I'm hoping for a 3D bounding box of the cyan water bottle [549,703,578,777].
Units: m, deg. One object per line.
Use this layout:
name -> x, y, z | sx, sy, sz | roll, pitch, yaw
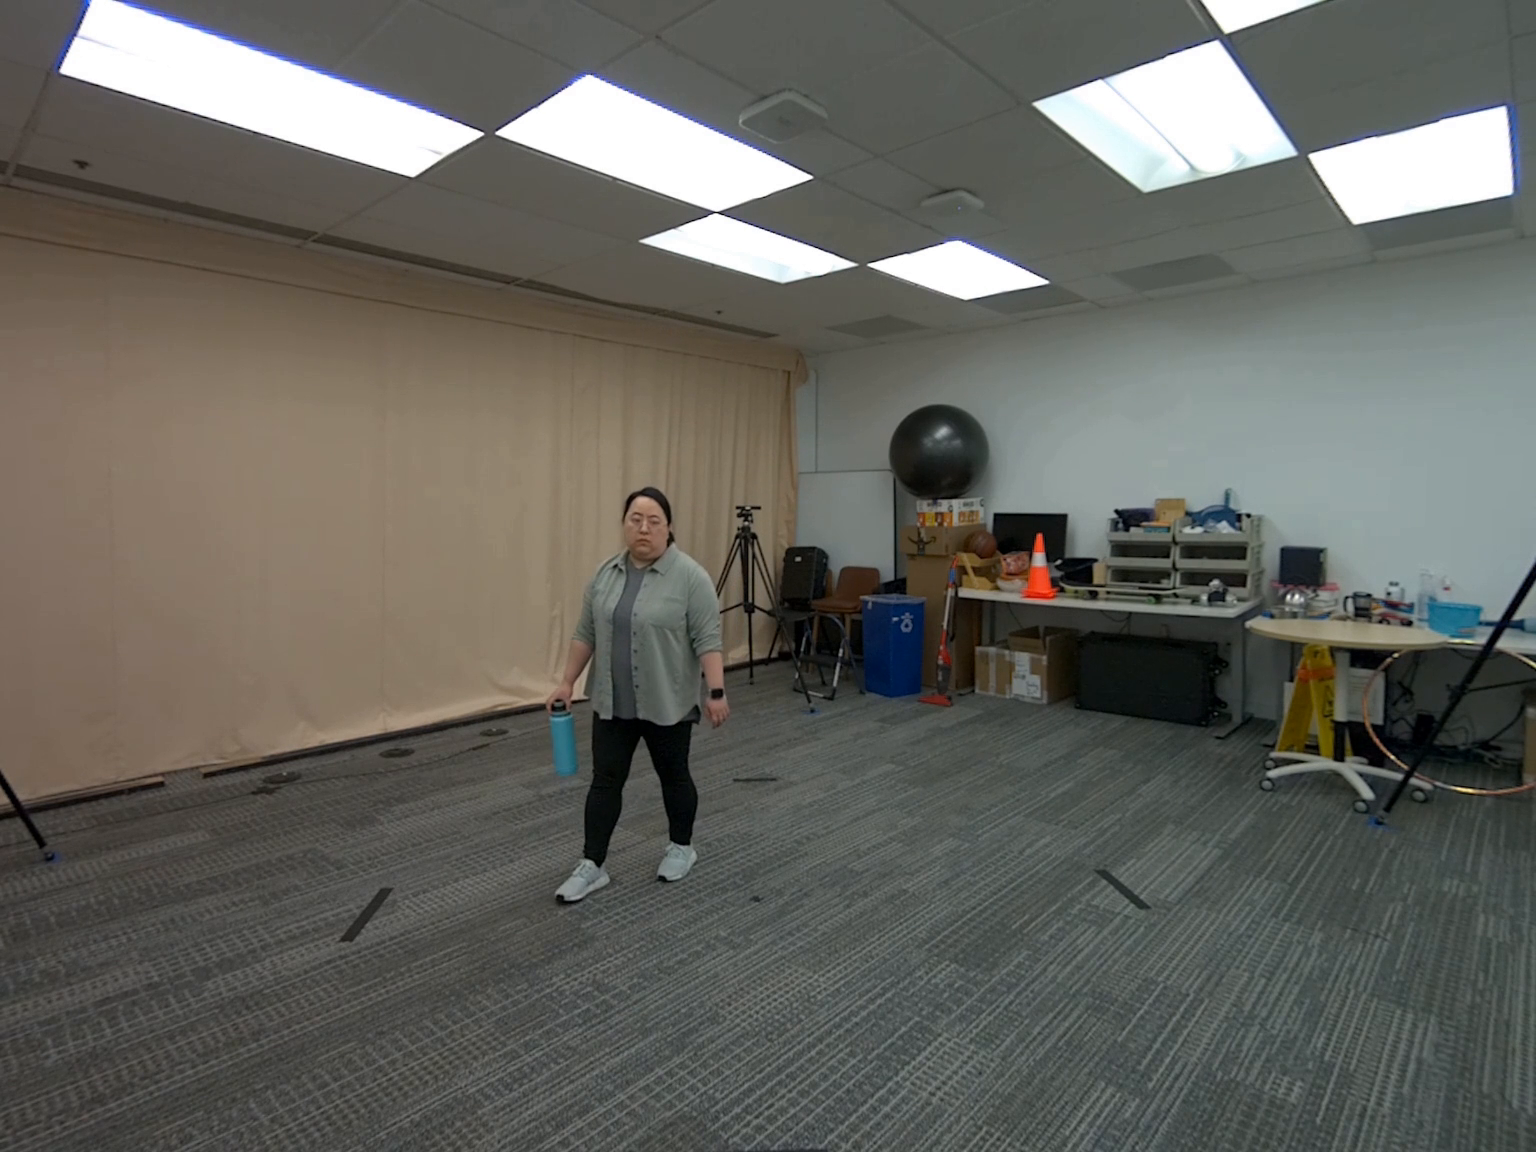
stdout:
cyan water bottle -> -0.781, 0.605, 3.184 | 0.092, 0.282, 0.093 | -5, 7, -1
